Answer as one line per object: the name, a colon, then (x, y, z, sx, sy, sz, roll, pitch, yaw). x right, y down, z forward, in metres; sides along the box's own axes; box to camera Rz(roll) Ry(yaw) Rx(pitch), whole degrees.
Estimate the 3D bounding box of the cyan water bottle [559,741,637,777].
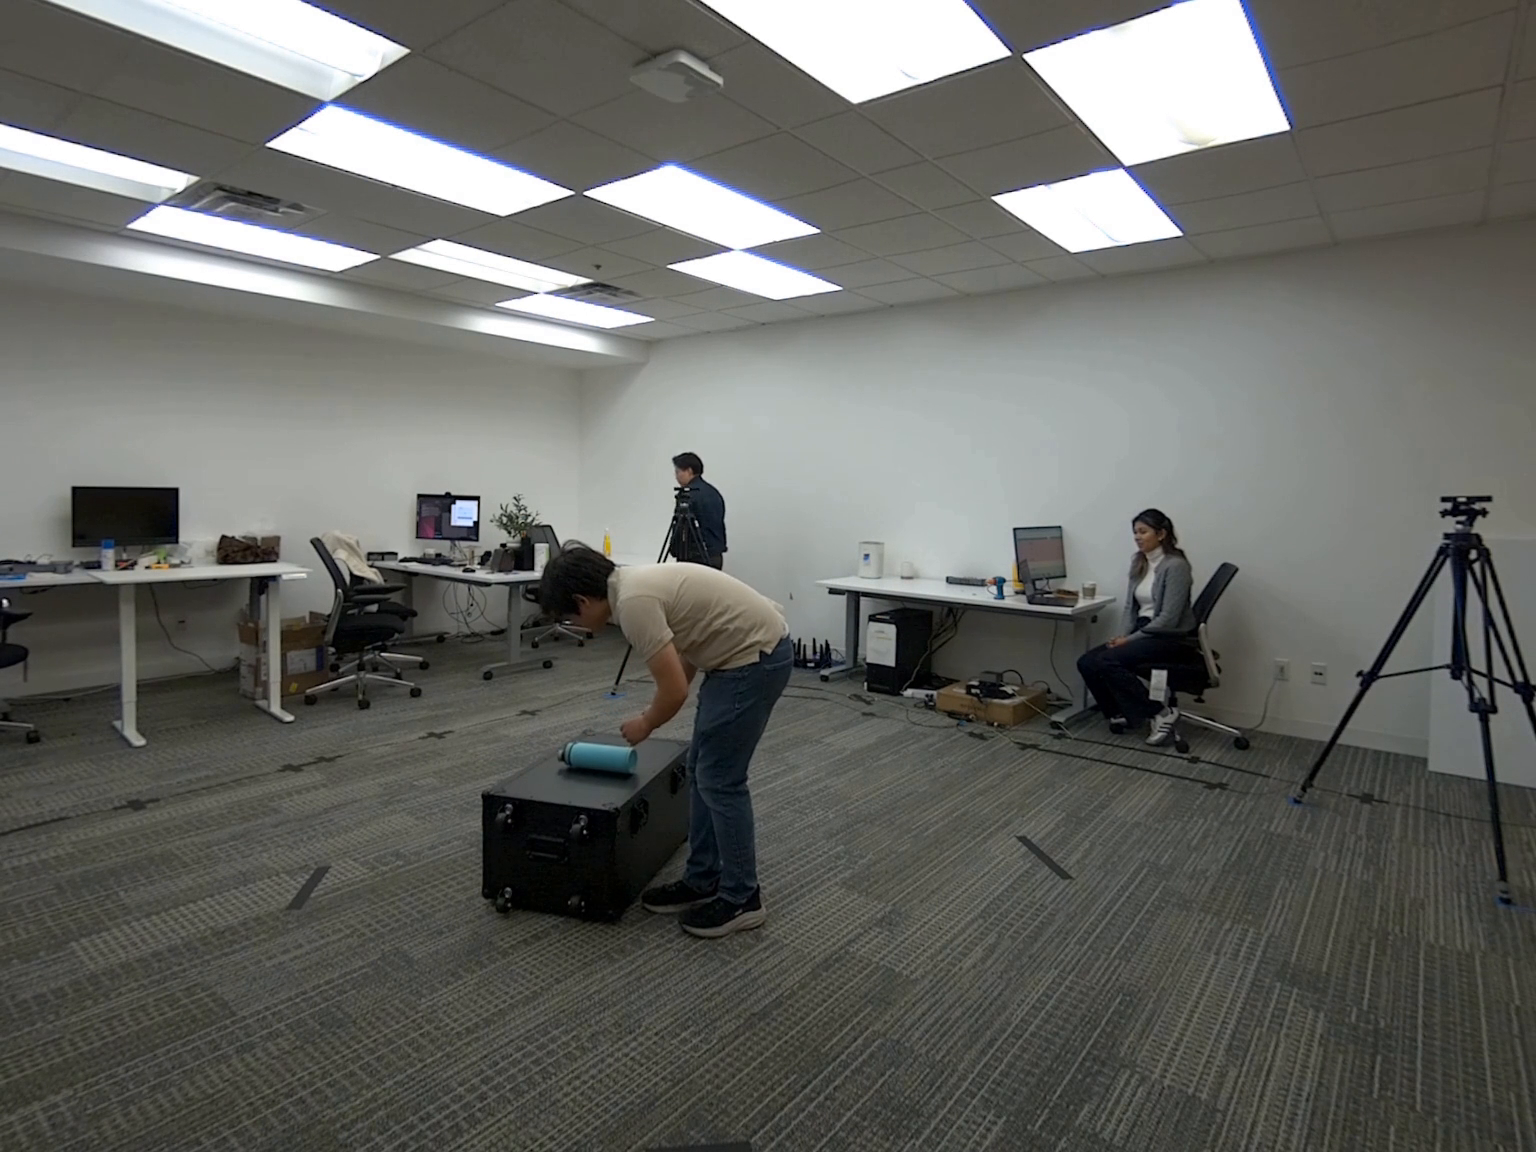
cyan water bottle: (-0.622, 0.641, 3.050, 0.289, 0.092, 0.091, 2, 4, 17)
